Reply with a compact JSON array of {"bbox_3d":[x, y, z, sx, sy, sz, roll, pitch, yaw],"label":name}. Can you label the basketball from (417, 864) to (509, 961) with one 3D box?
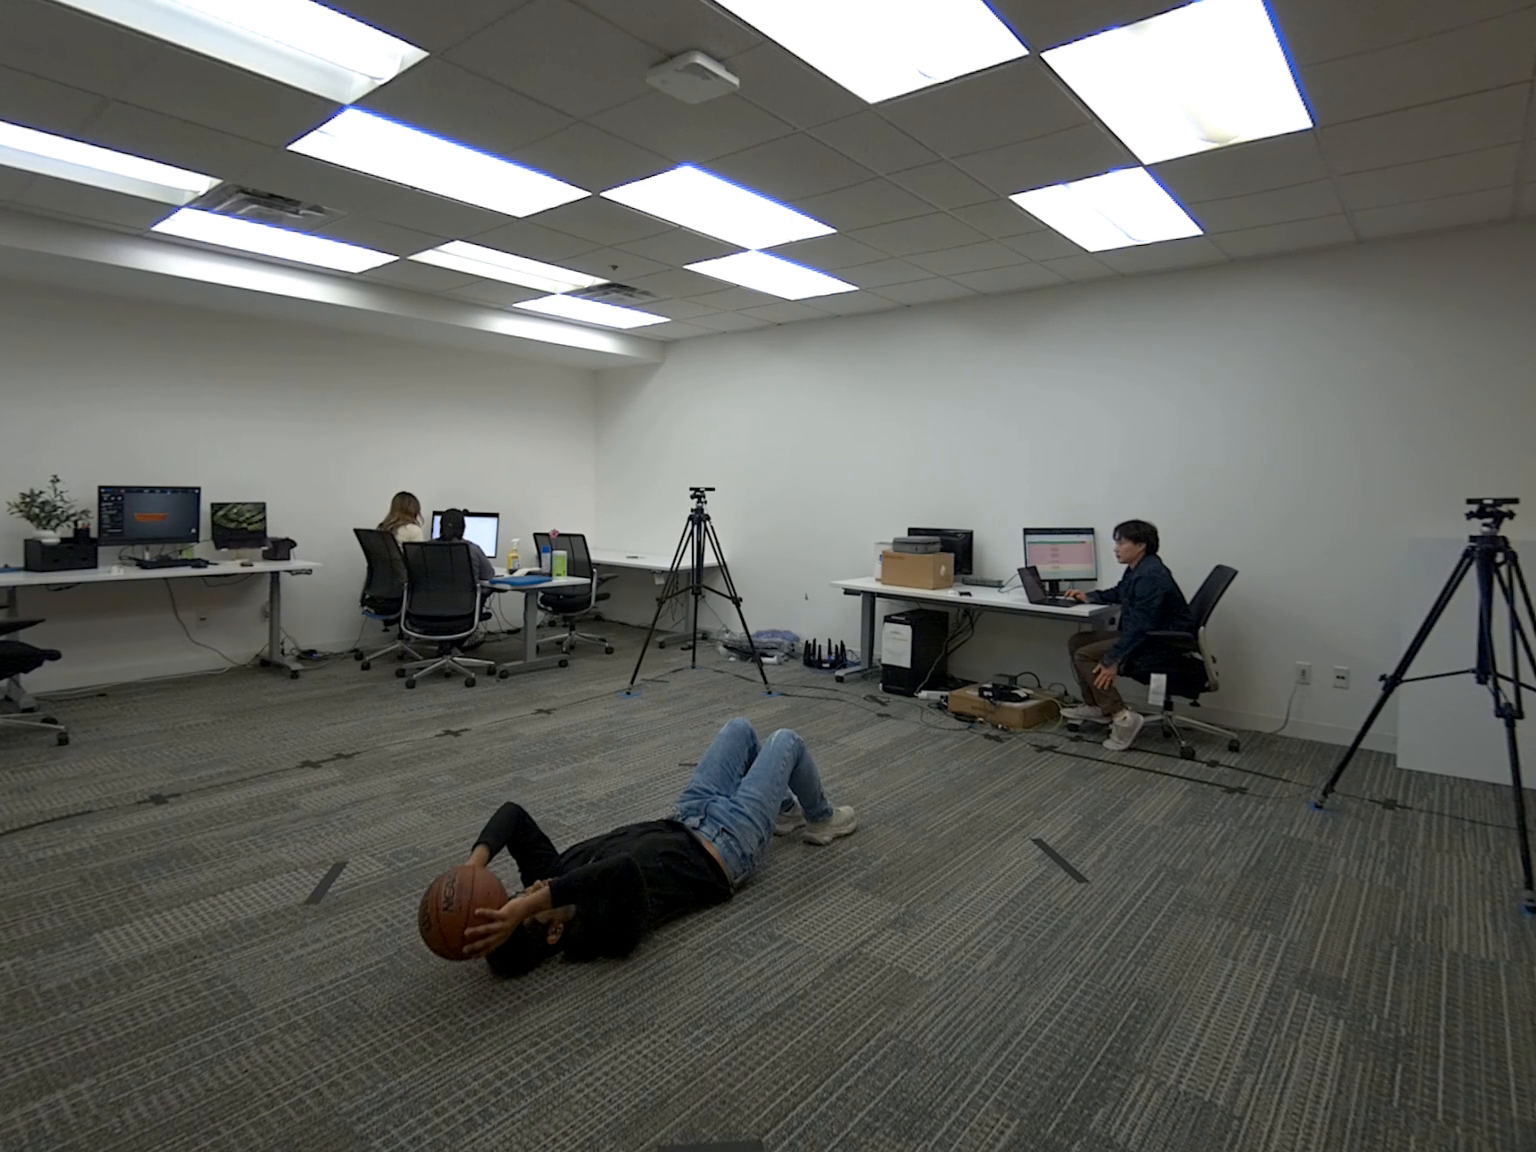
[{"bbox_3d":[-0.827,0.902,2.328,0.235,0.235,0.237,1,4,-2],"label":"basketball"}]
